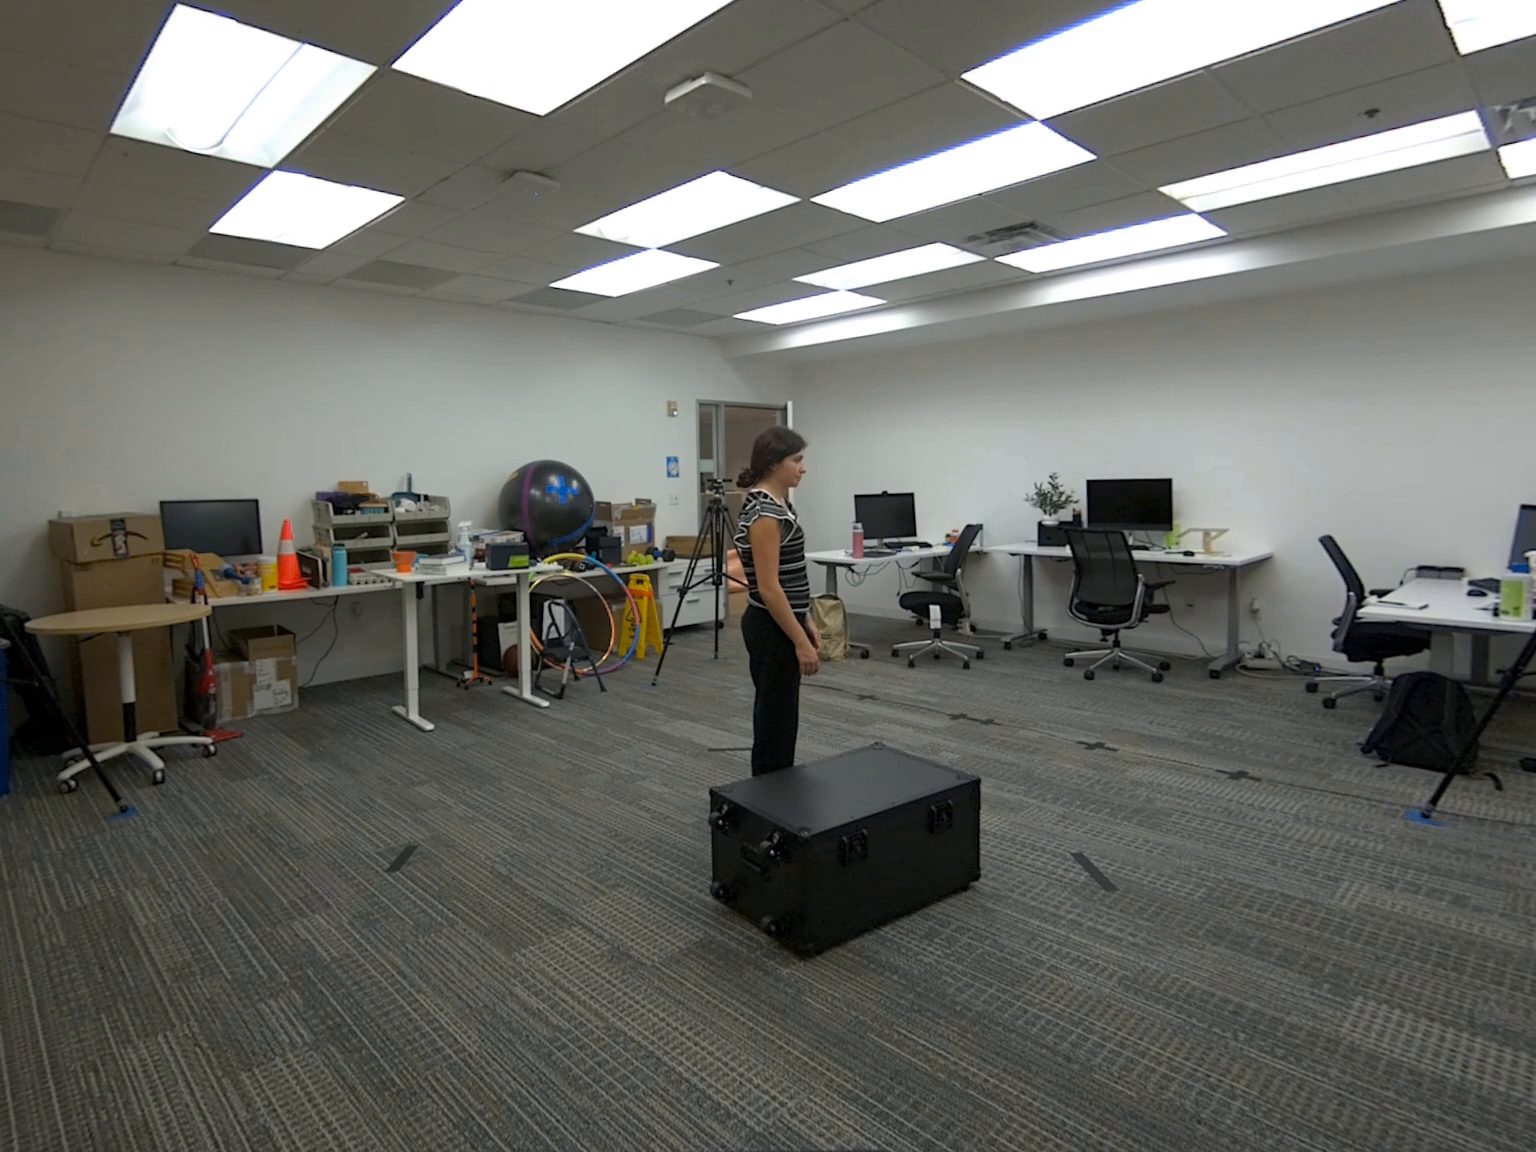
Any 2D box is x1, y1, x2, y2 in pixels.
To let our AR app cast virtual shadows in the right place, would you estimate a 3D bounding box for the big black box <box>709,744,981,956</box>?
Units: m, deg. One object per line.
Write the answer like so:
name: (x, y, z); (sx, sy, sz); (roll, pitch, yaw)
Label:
big black box: (0.239, 0.879, 2.845); (0.839, 0.395, 0.537); (-5, 6, -36)
